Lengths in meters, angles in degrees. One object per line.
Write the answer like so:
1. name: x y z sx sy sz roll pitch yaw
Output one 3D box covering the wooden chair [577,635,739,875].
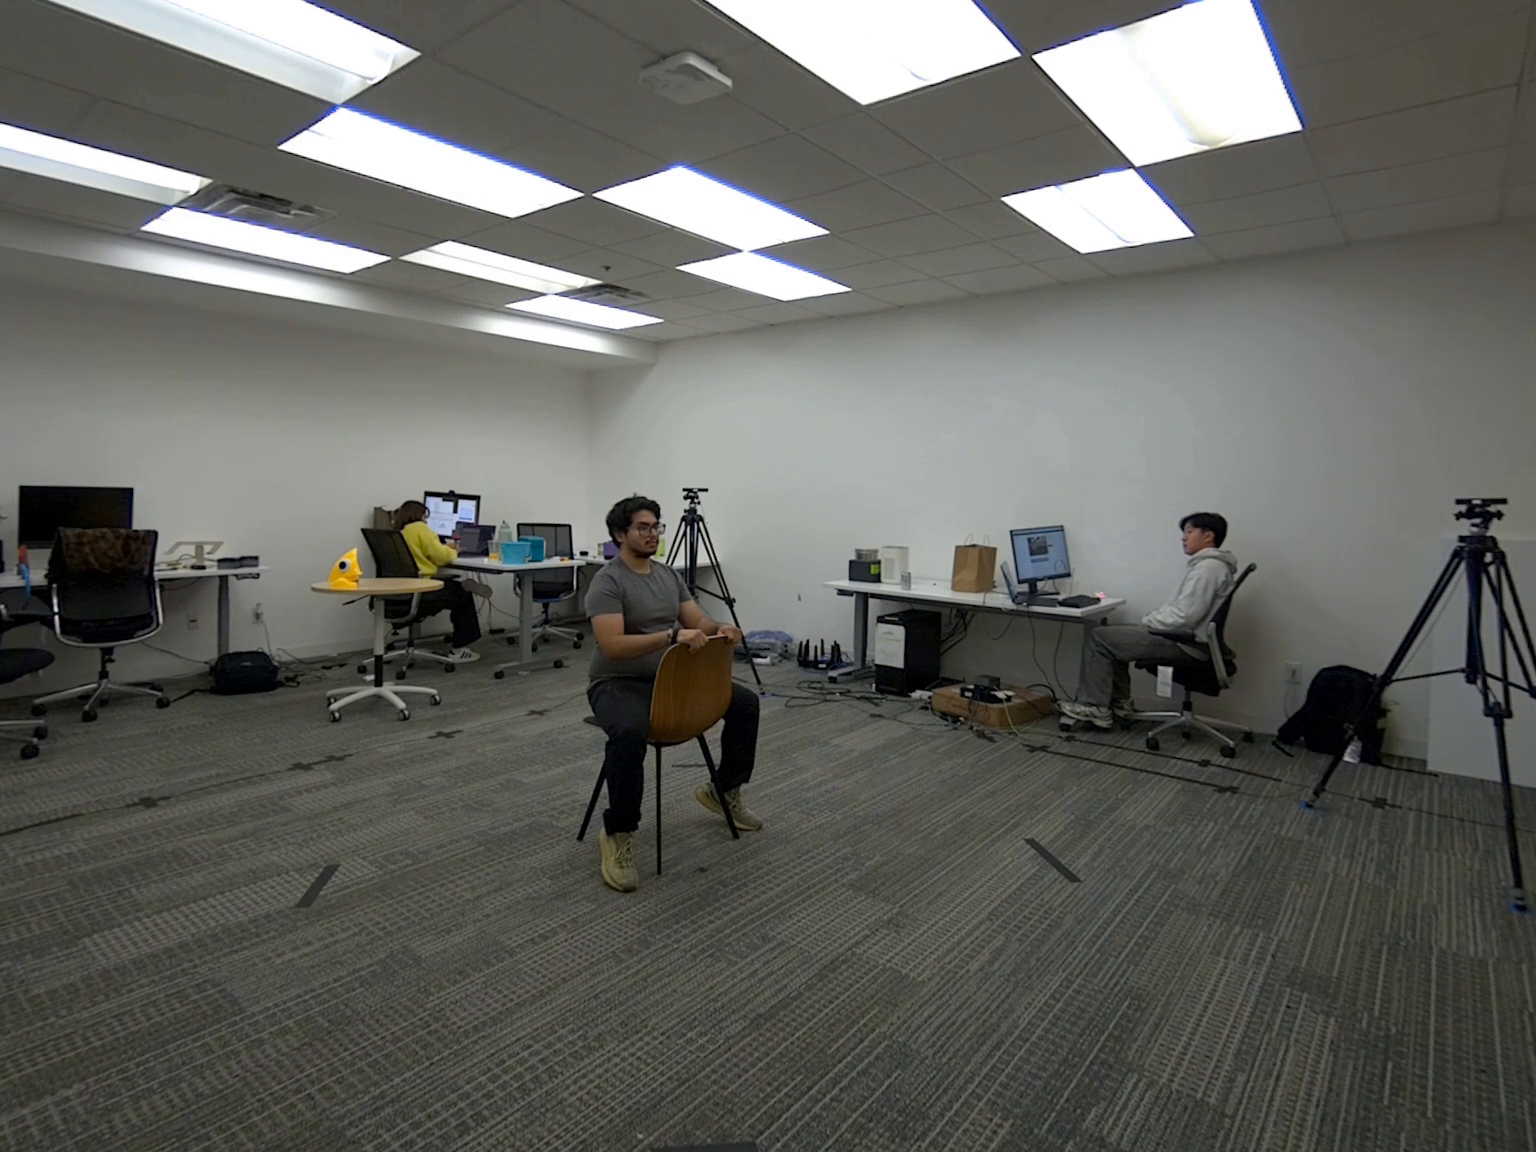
1. wooden chair: -0.444 0.616 3.348 0.542 0.873 0.464 9 7 39
